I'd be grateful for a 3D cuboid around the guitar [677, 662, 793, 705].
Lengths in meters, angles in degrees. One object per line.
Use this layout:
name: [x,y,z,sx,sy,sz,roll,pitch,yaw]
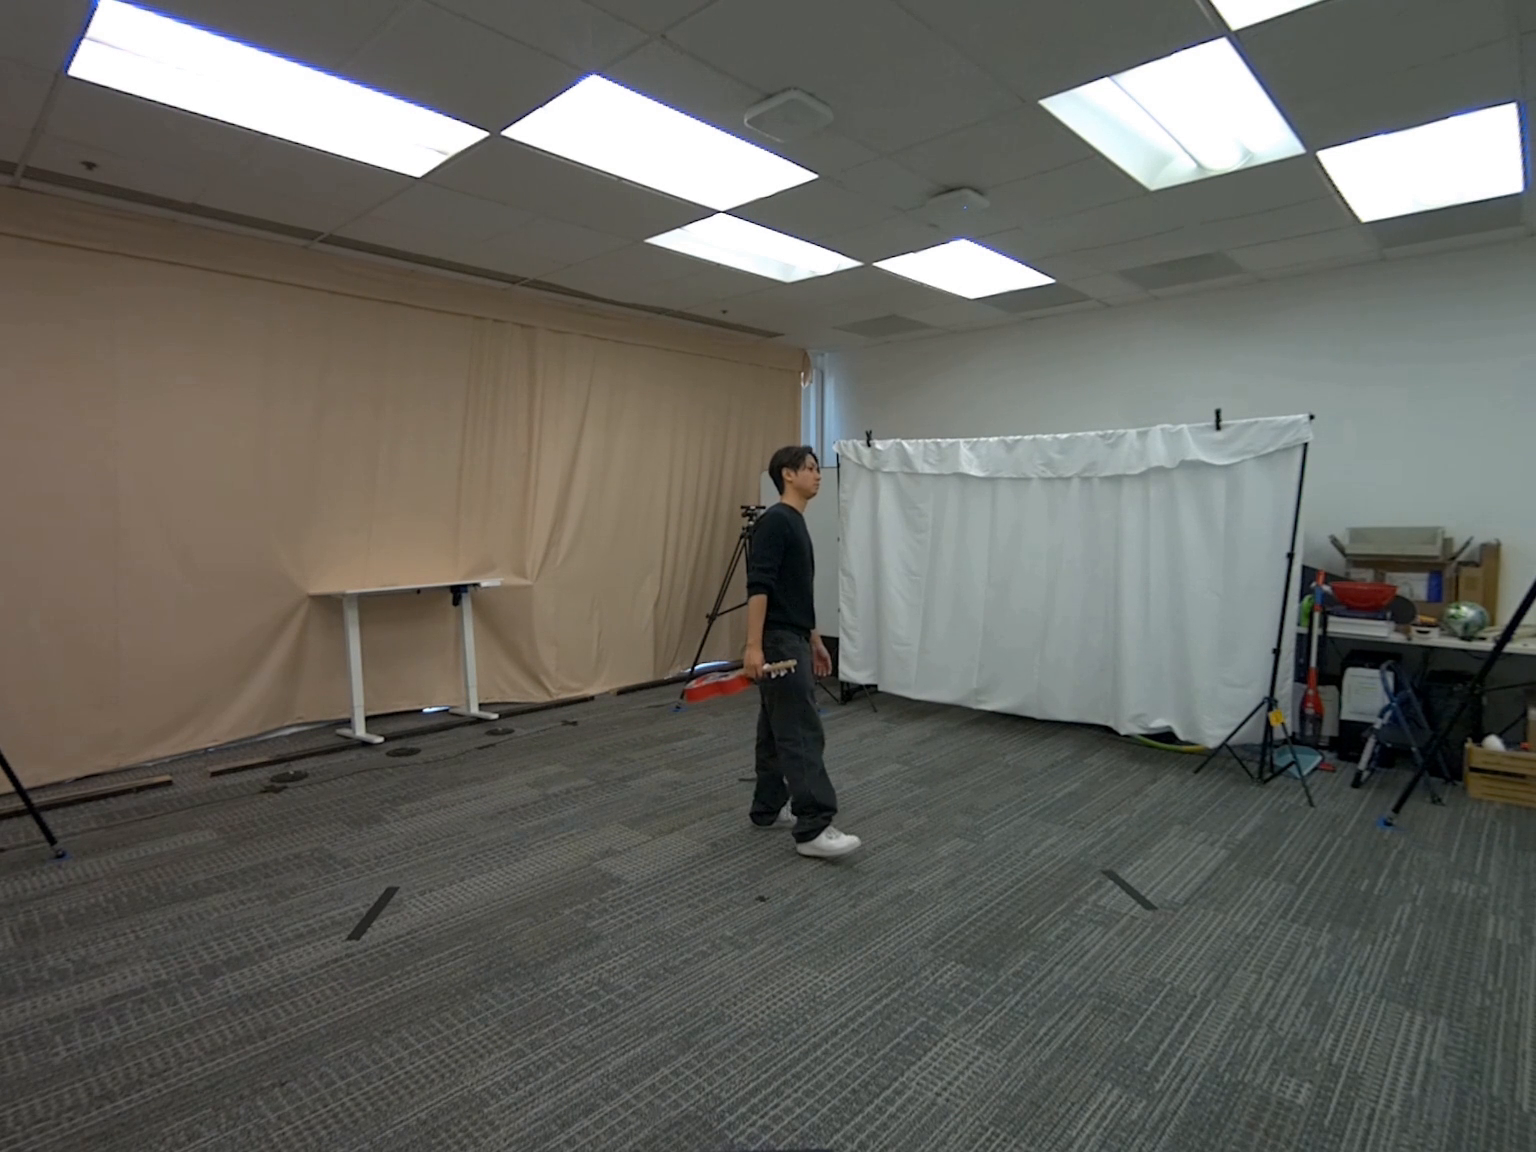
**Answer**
guitar: [-0.106,0.415,3.323,0.511,0.070,0.188,-14,4,38]
